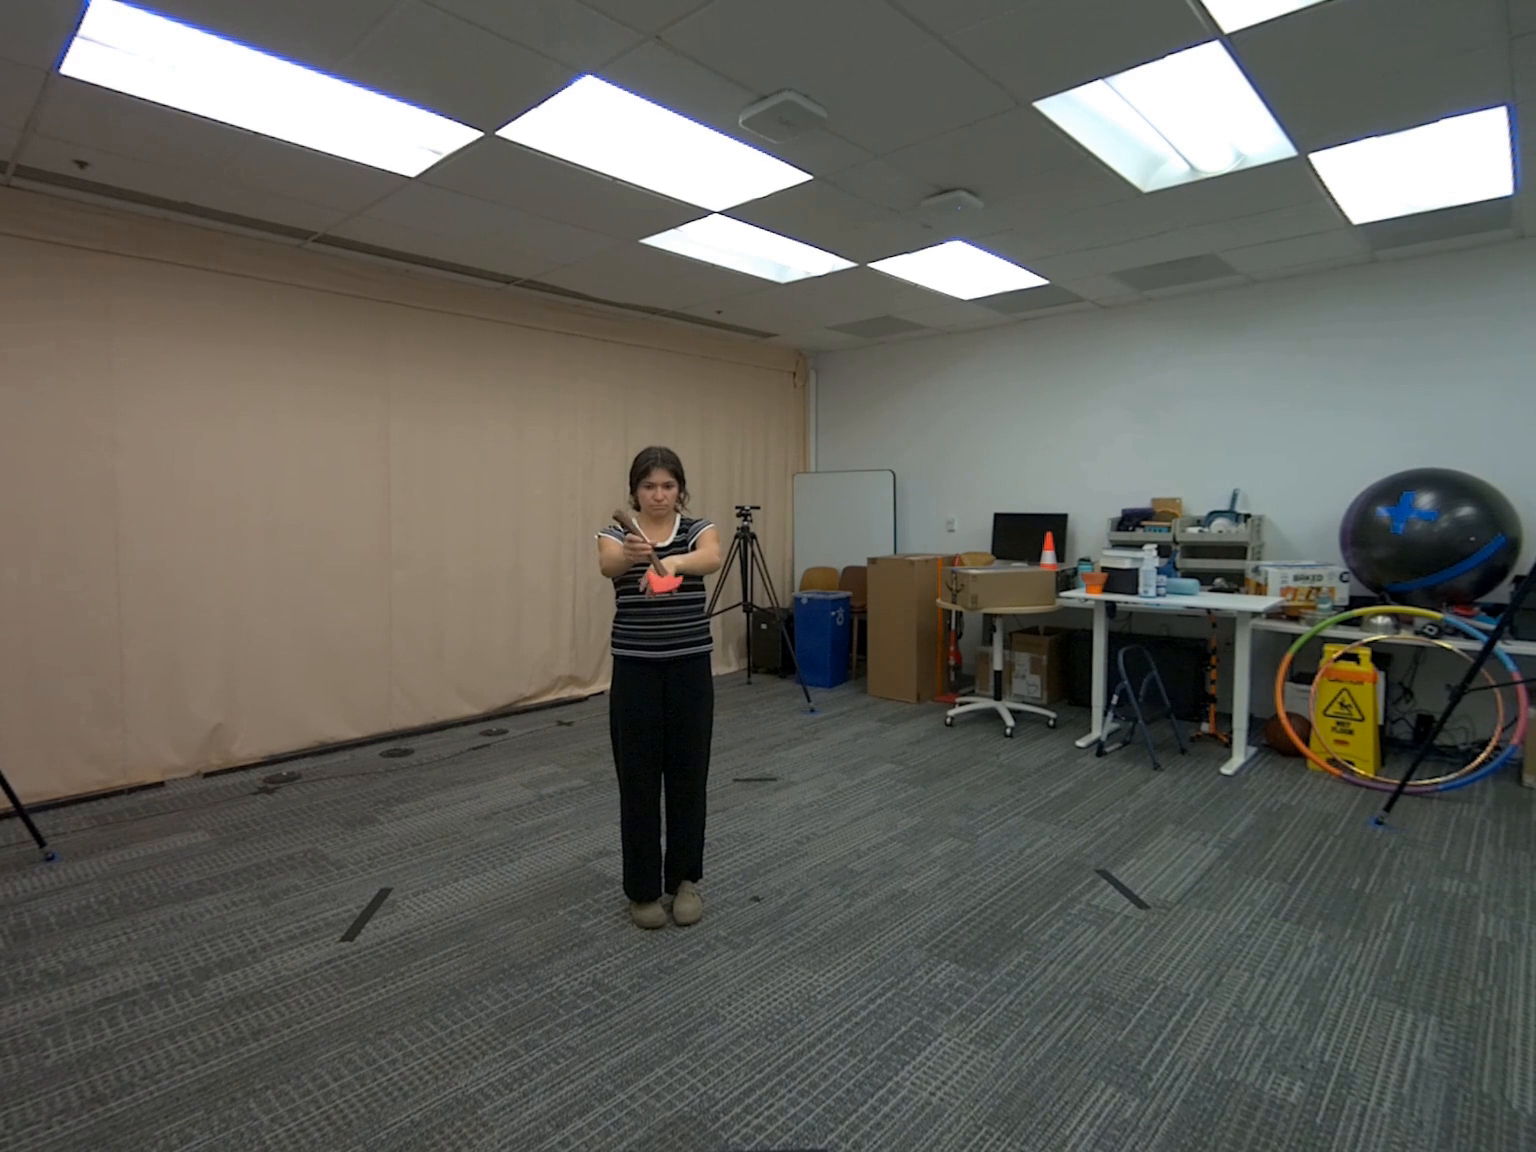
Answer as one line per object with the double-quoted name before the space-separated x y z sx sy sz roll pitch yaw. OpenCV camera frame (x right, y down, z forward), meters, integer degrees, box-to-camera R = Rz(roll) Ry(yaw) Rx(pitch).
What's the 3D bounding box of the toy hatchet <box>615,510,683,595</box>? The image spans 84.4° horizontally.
"toy hatchet" -0.344 -0.054 2.257 0.030 0.266 0.130 -32 14 37
